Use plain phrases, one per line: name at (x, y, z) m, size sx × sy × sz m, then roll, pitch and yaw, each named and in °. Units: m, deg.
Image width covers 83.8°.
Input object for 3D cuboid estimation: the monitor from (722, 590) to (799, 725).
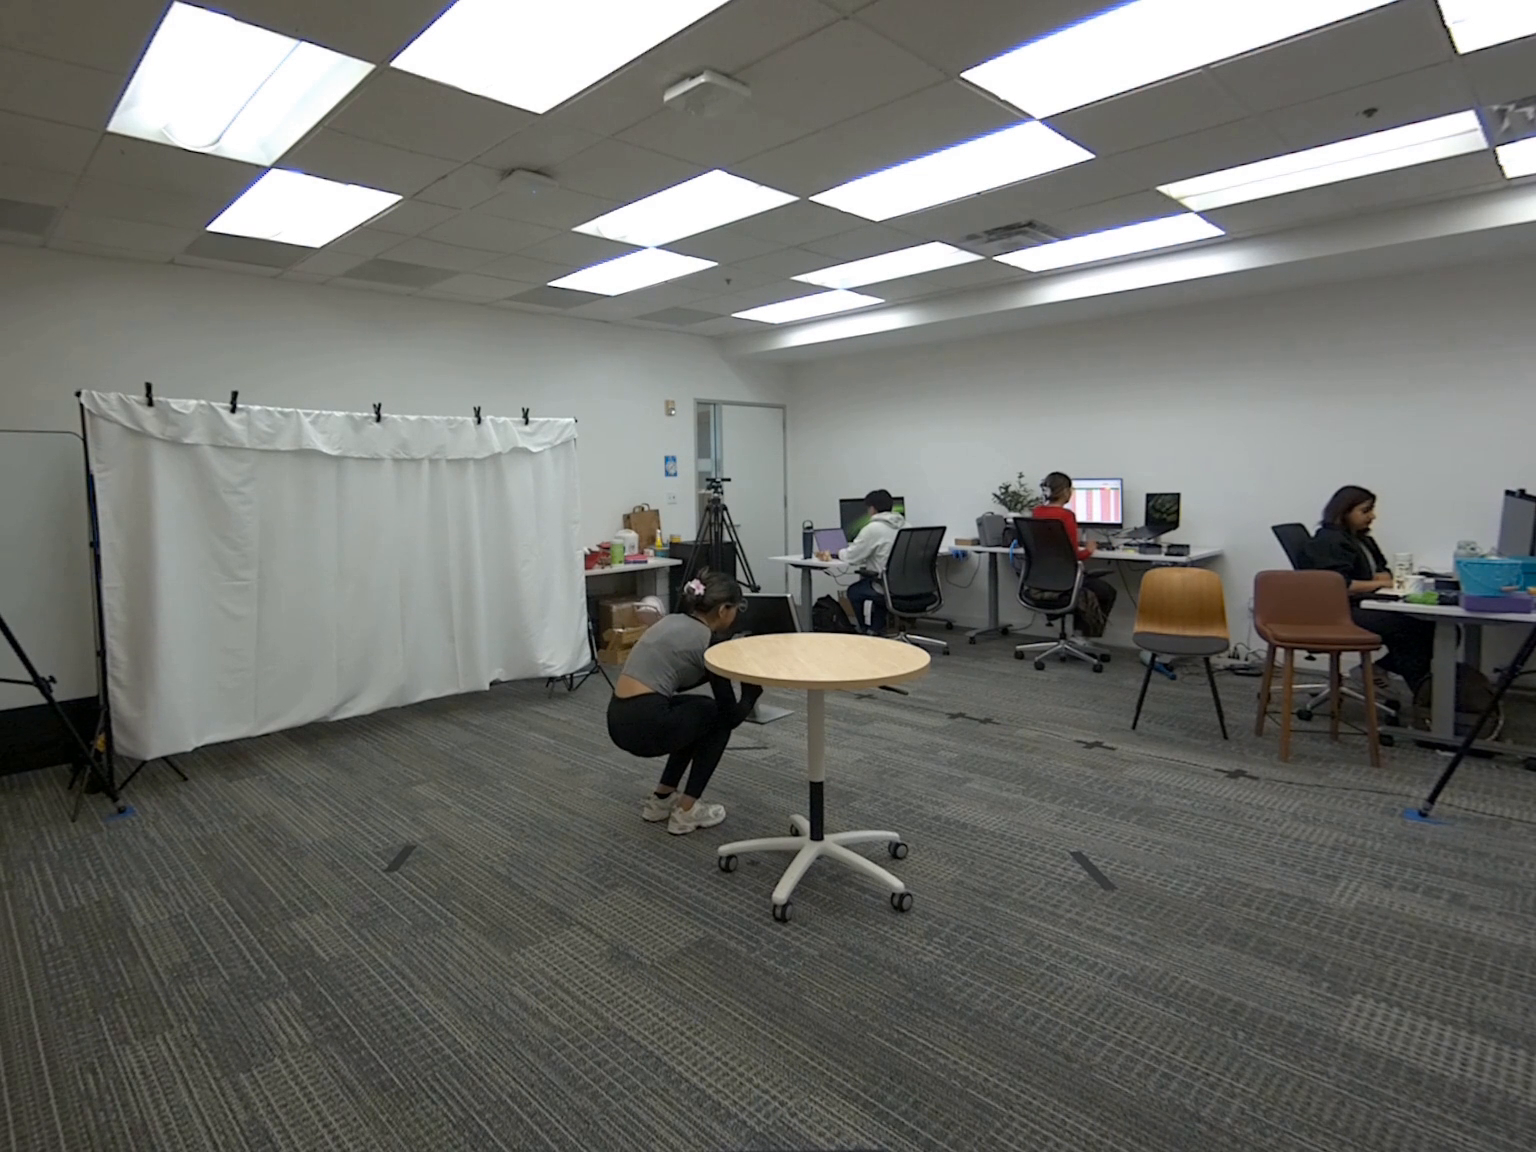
monitor at (-0.061, 0.346, 3.723) m, size 0.182 × 0.522 × 0.554 m, roll -6°, pitch 3°, yaw -42°
